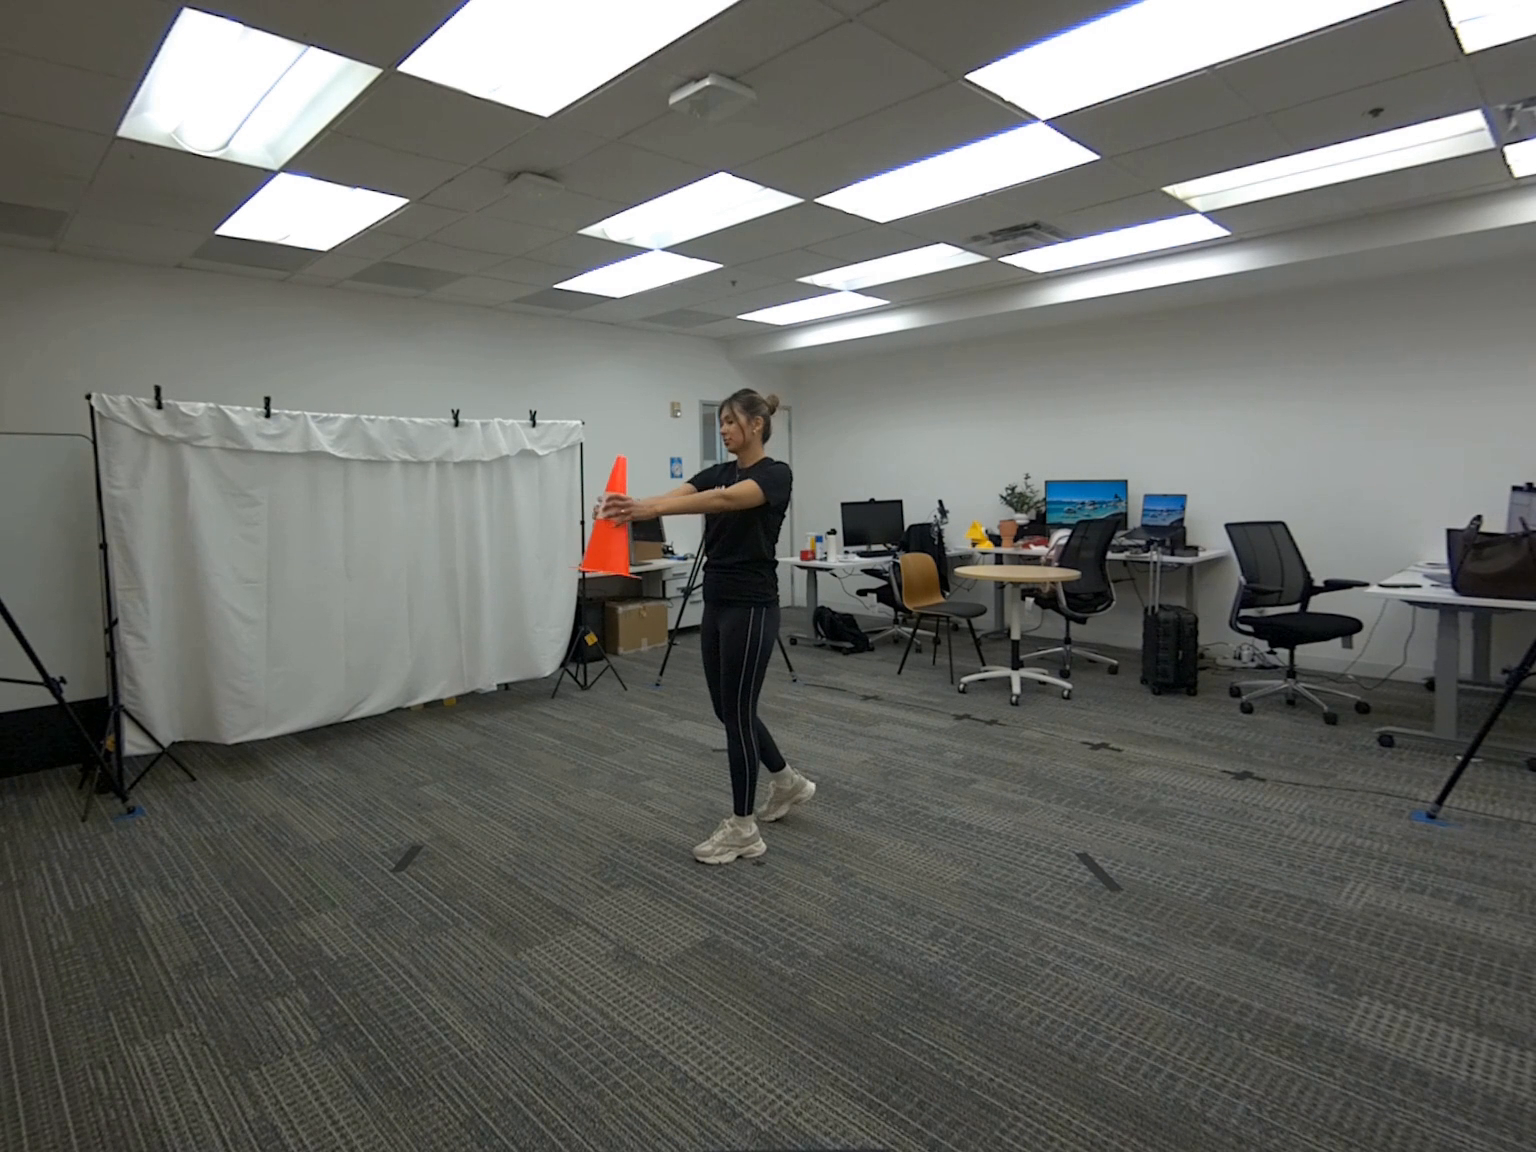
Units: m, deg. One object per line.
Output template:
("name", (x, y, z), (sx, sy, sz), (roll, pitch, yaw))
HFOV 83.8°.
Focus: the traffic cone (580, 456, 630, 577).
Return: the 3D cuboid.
("traffic cone", (-0.497, -0.199, 2.766), (0.211, 0.384, 0.197), (5, -3, 44))
